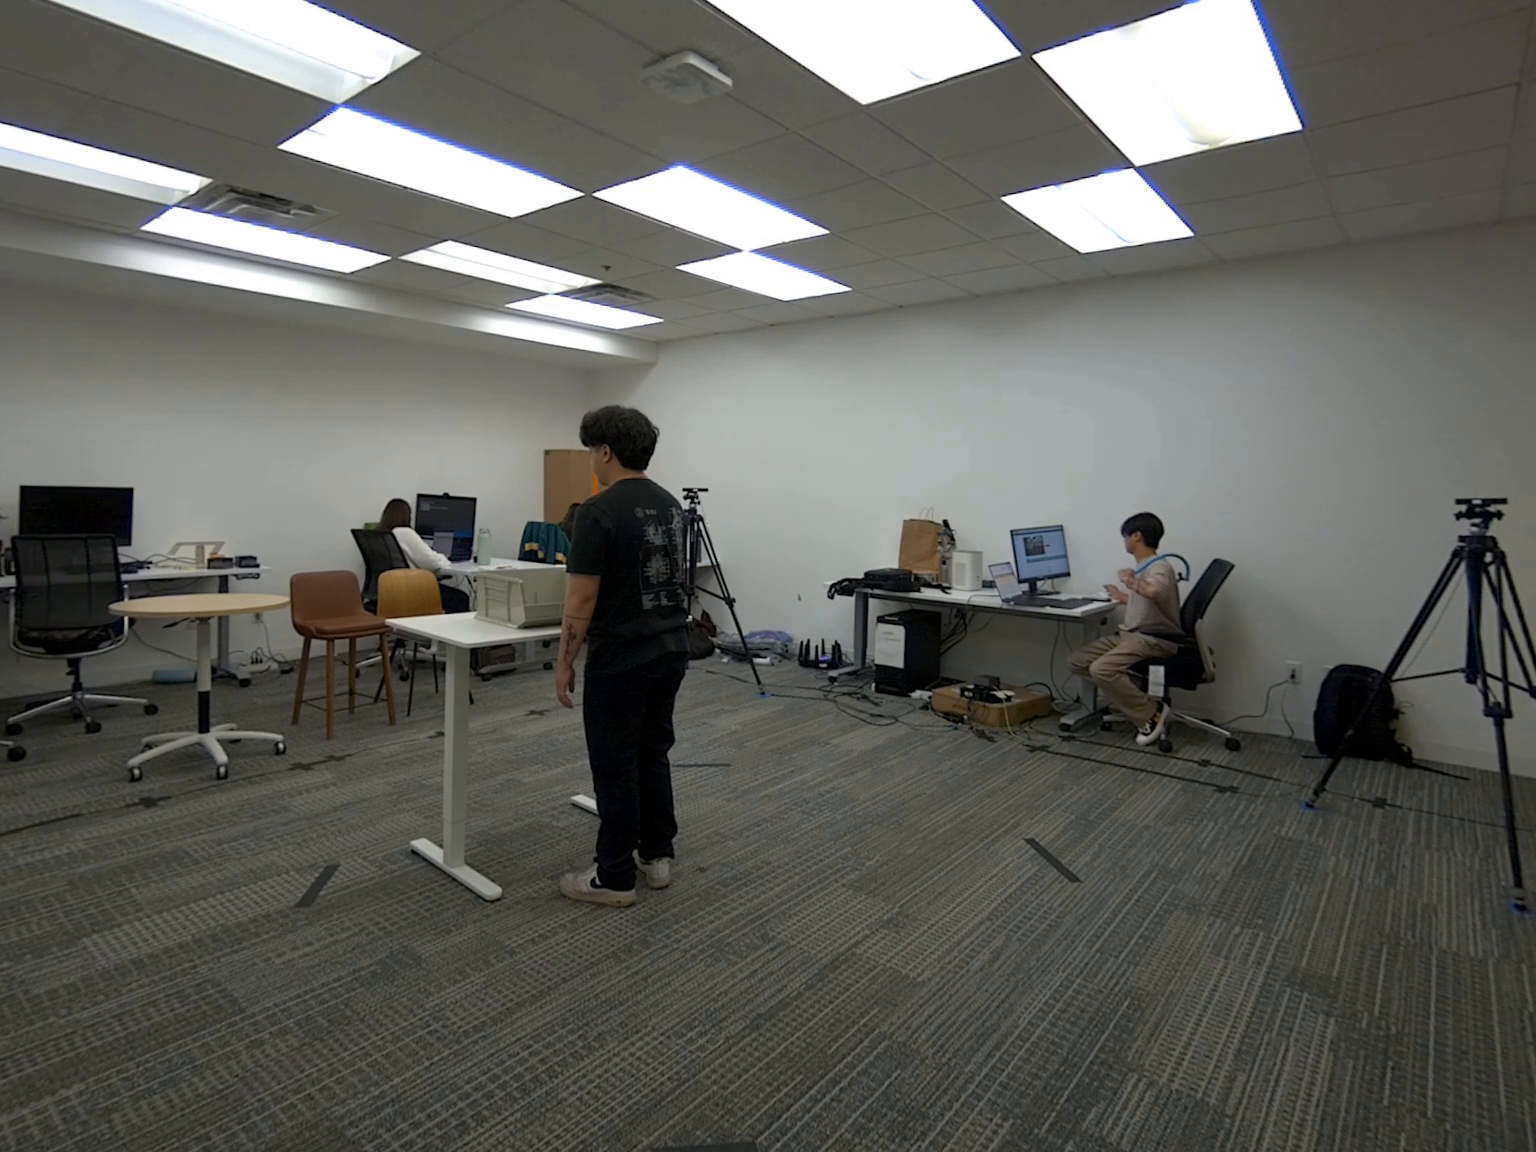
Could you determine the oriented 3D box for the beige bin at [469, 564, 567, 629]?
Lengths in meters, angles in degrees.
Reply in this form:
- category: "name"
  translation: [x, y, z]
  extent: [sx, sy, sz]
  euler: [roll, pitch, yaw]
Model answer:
- category: "beige bin"
  translation: [-0.857, 0.080, 3.230]
  extent: [0.390, 0.188, 0.409]
  euler: [6, 7, 45]
